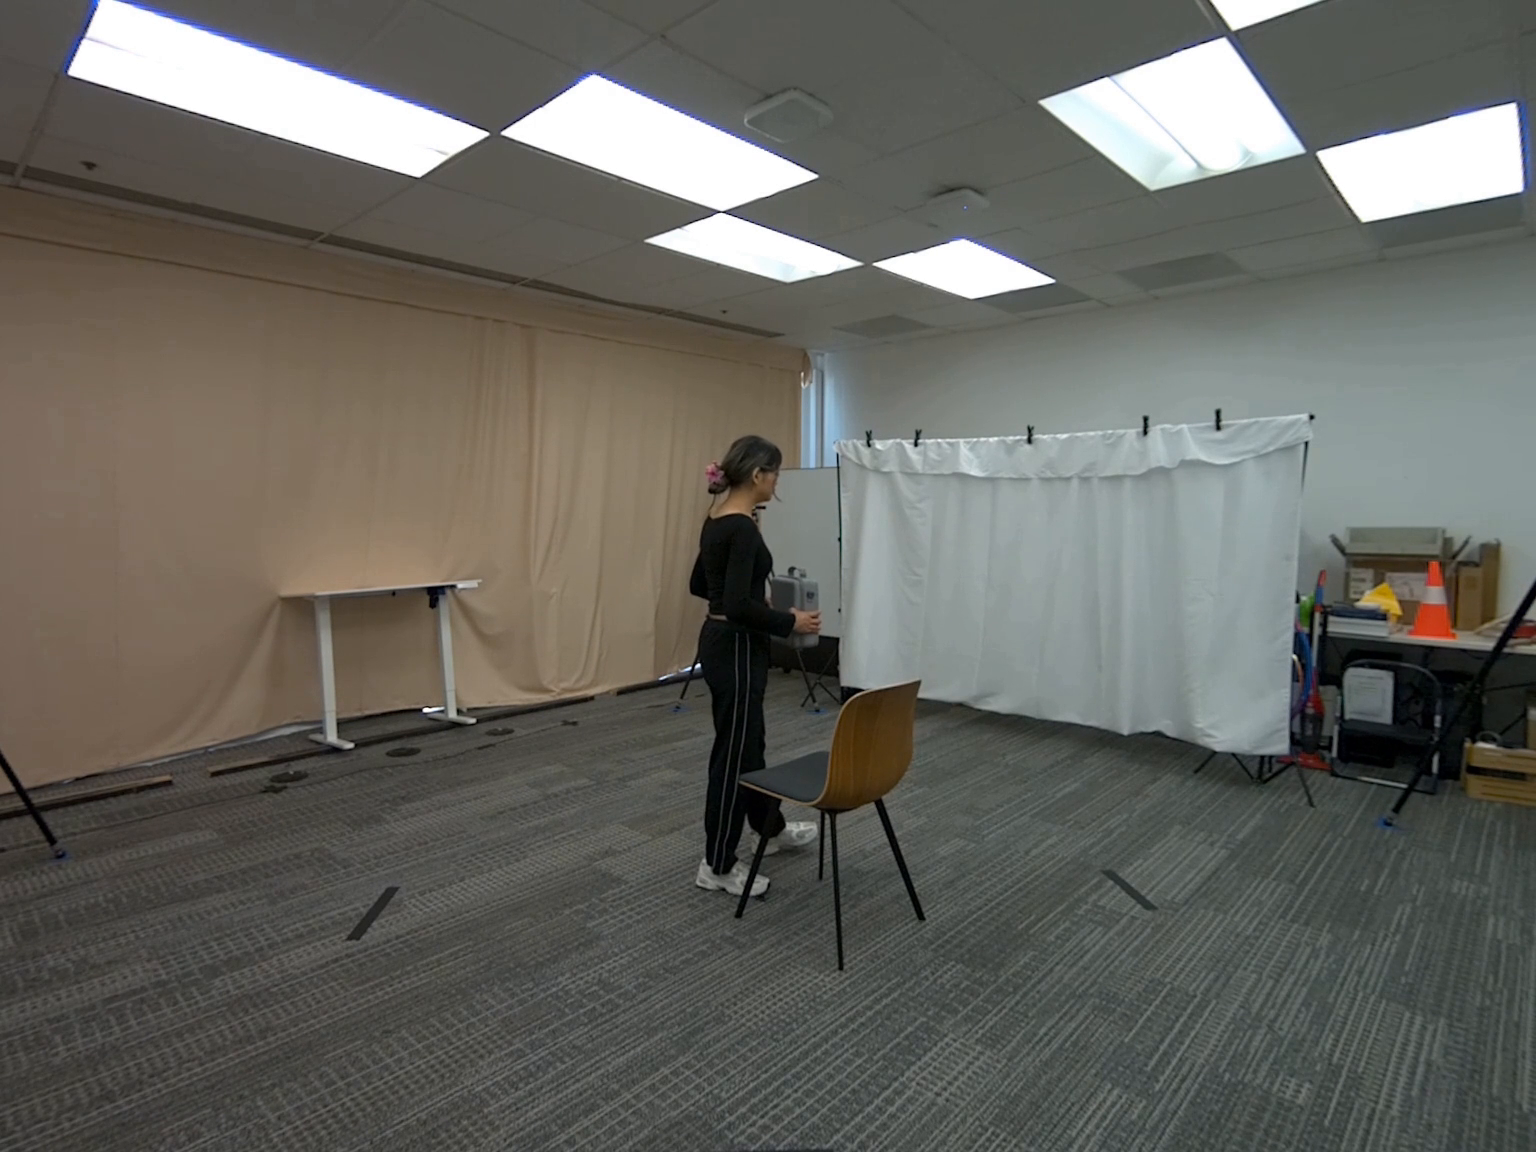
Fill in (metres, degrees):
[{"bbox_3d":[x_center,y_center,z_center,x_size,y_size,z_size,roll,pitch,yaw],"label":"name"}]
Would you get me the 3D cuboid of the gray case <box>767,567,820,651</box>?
[{"bbox_3d":[0.097,0.123,3.118,0.102,0.260,0.262,2,2,-19],"label":"gray case"}]
